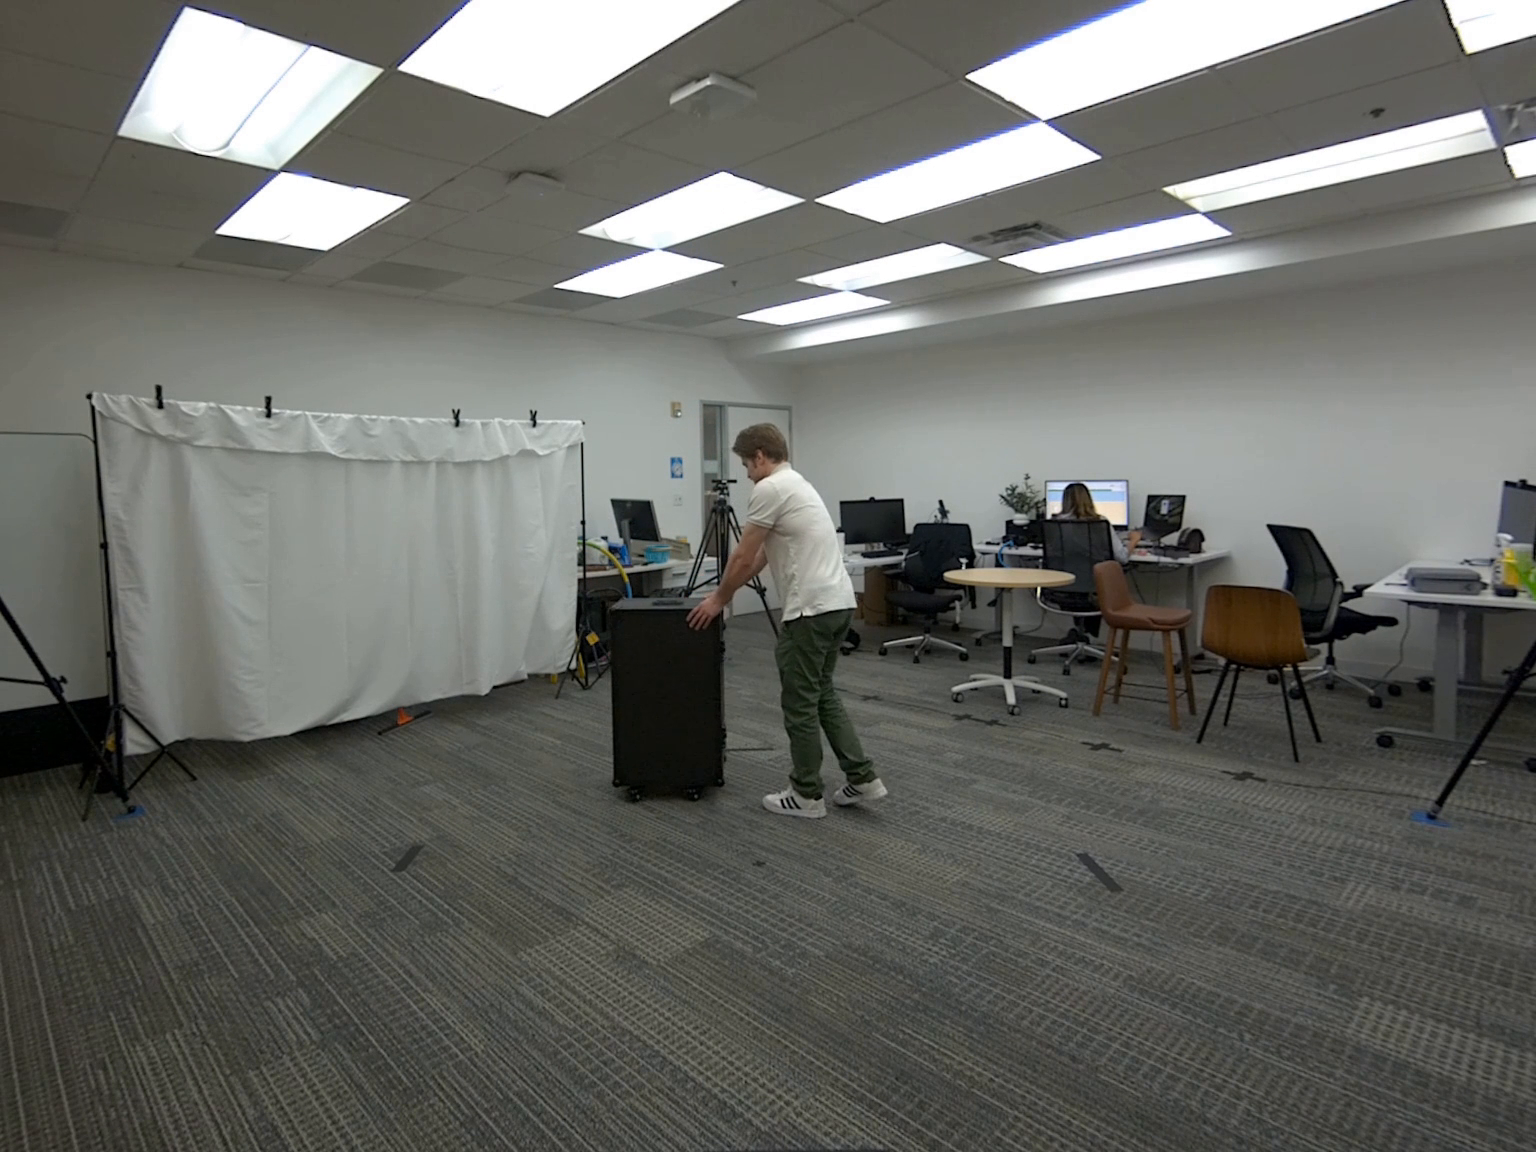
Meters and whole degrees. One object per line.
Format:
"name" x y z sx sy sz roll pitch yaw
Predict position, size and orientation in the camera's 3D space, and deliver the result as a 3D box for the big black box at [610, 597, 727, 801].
"big black box" -0.450 0.549 3.882 0.524 0.866 0.386 0 3 0
